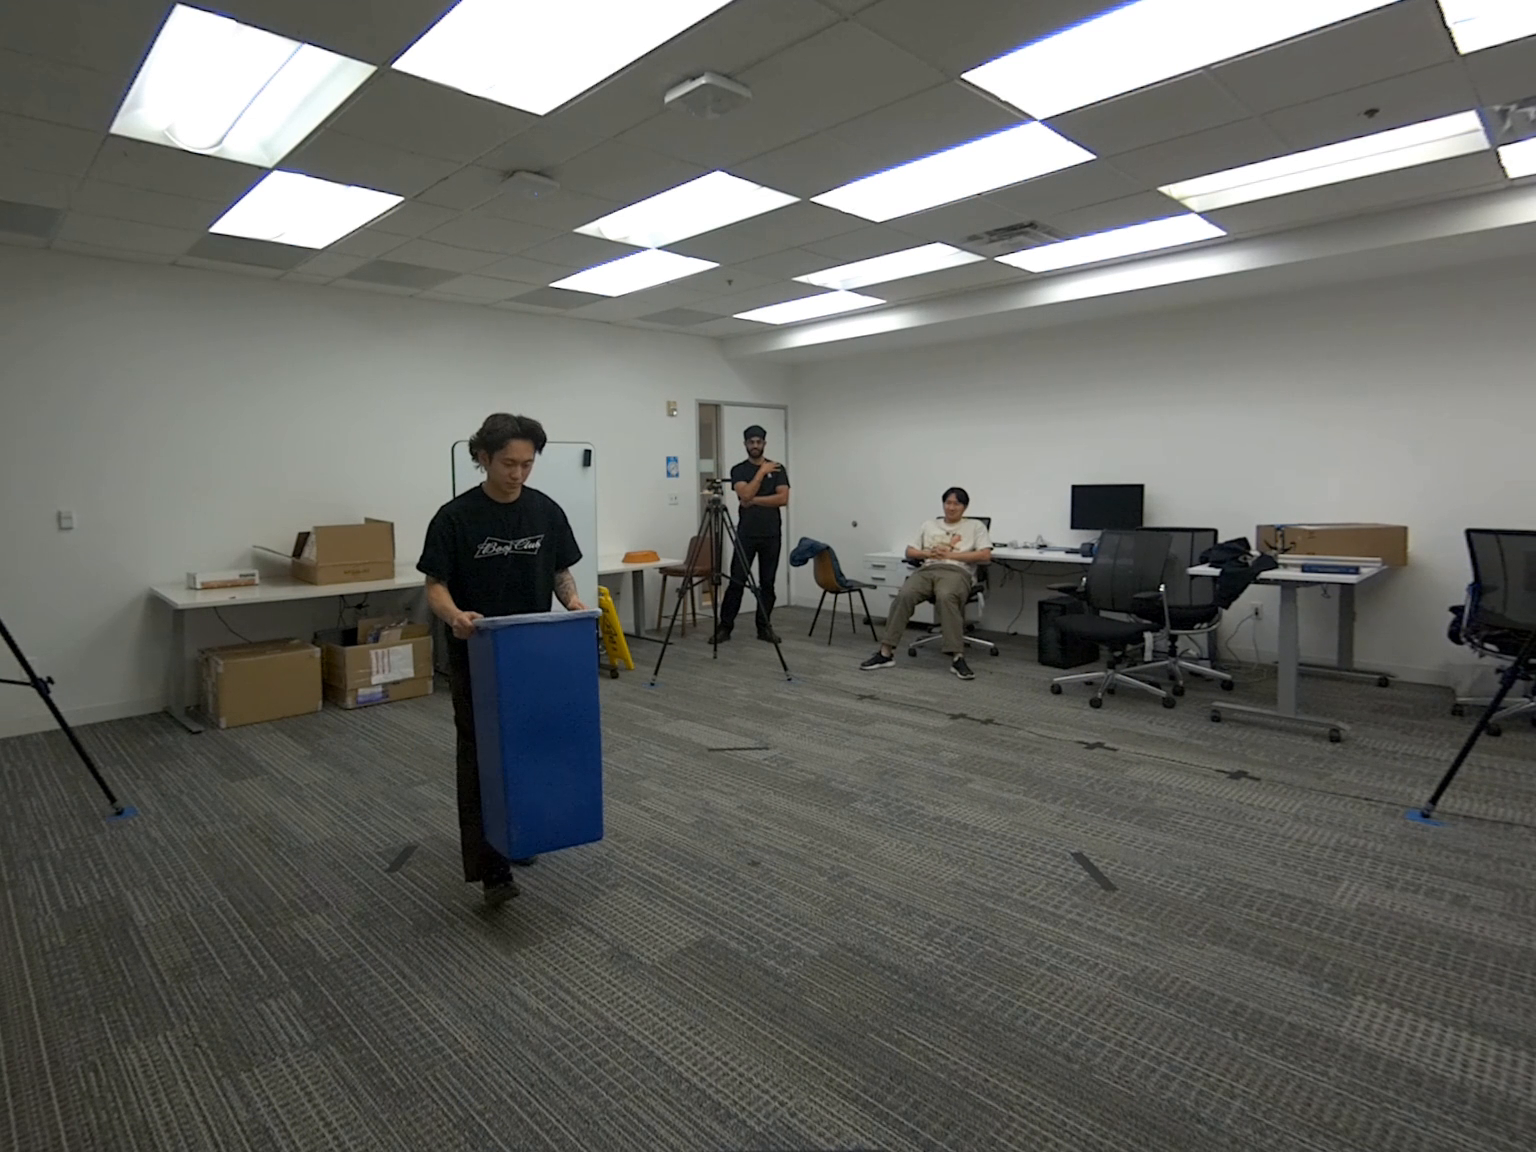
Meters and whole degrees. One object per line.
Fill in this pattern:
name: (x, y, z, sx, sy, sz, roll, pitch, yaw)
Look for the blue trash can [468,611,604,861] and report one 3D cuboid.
blue trash can: (-0.742, 0.481, 2.716, 0.364, 0.716, 0.386, -2, -4, -33)
